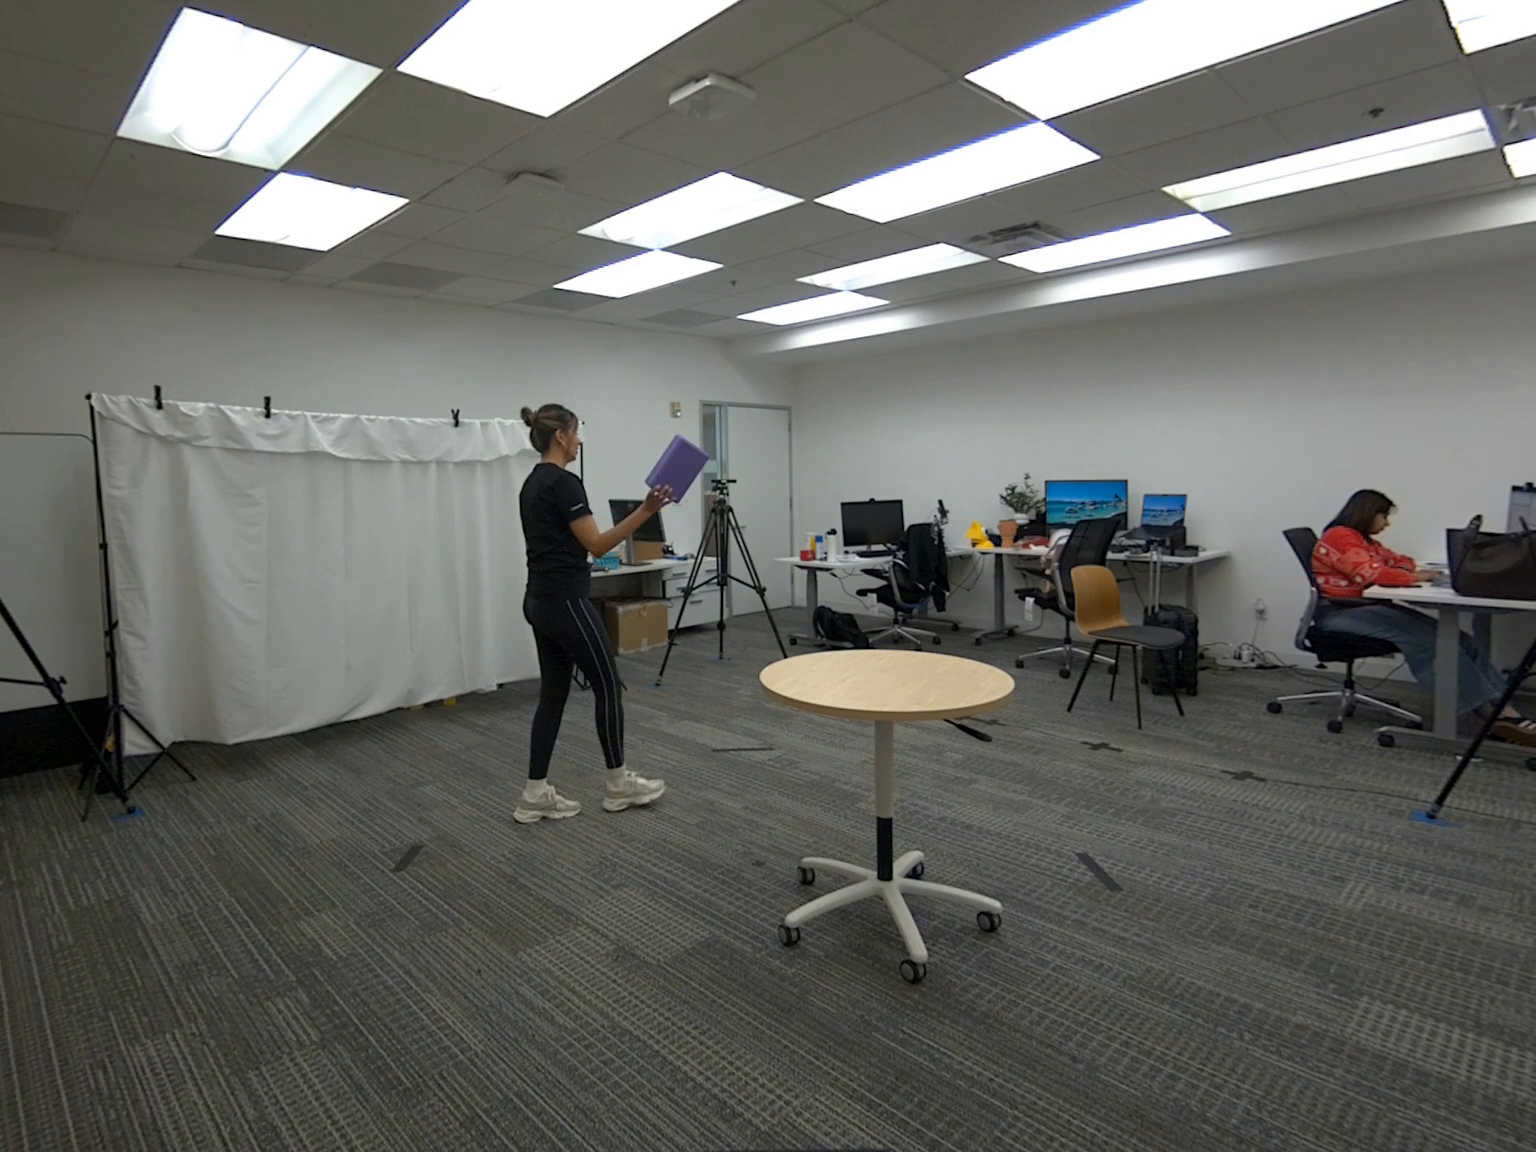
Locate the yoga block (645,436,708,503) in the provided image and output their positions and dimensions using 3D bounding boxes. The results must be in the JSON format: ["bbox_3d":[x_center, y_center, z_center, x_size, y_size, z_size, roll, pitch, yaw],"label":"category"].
[{"bbox_3d":[-0.352,-0.415,3.311,0.144,0.229,0.079,32,5,-33],"label":"yoga block"}]
